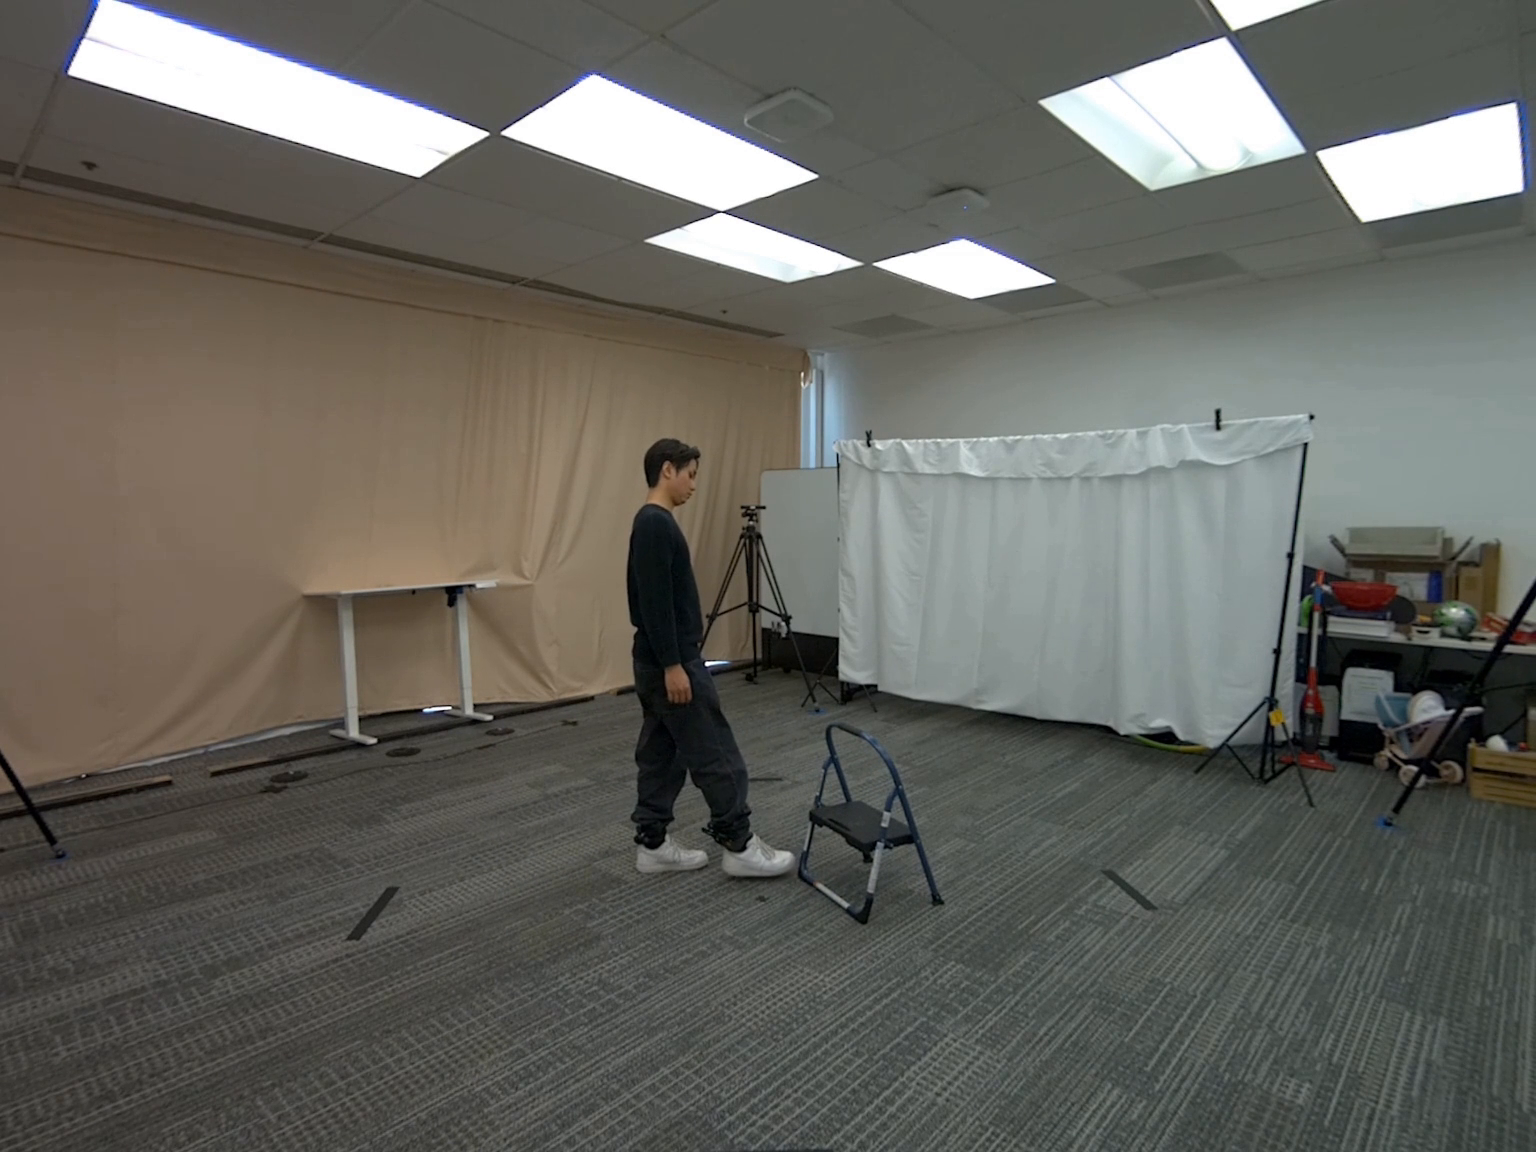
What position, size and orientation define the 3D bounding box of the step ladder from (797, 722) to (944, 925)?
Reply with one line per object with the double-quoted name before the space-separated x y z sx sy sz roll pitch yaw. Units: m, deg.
"step ladder" 0.367 0.835 3.034 0.340 0.605 0.443 -2 4 -30
